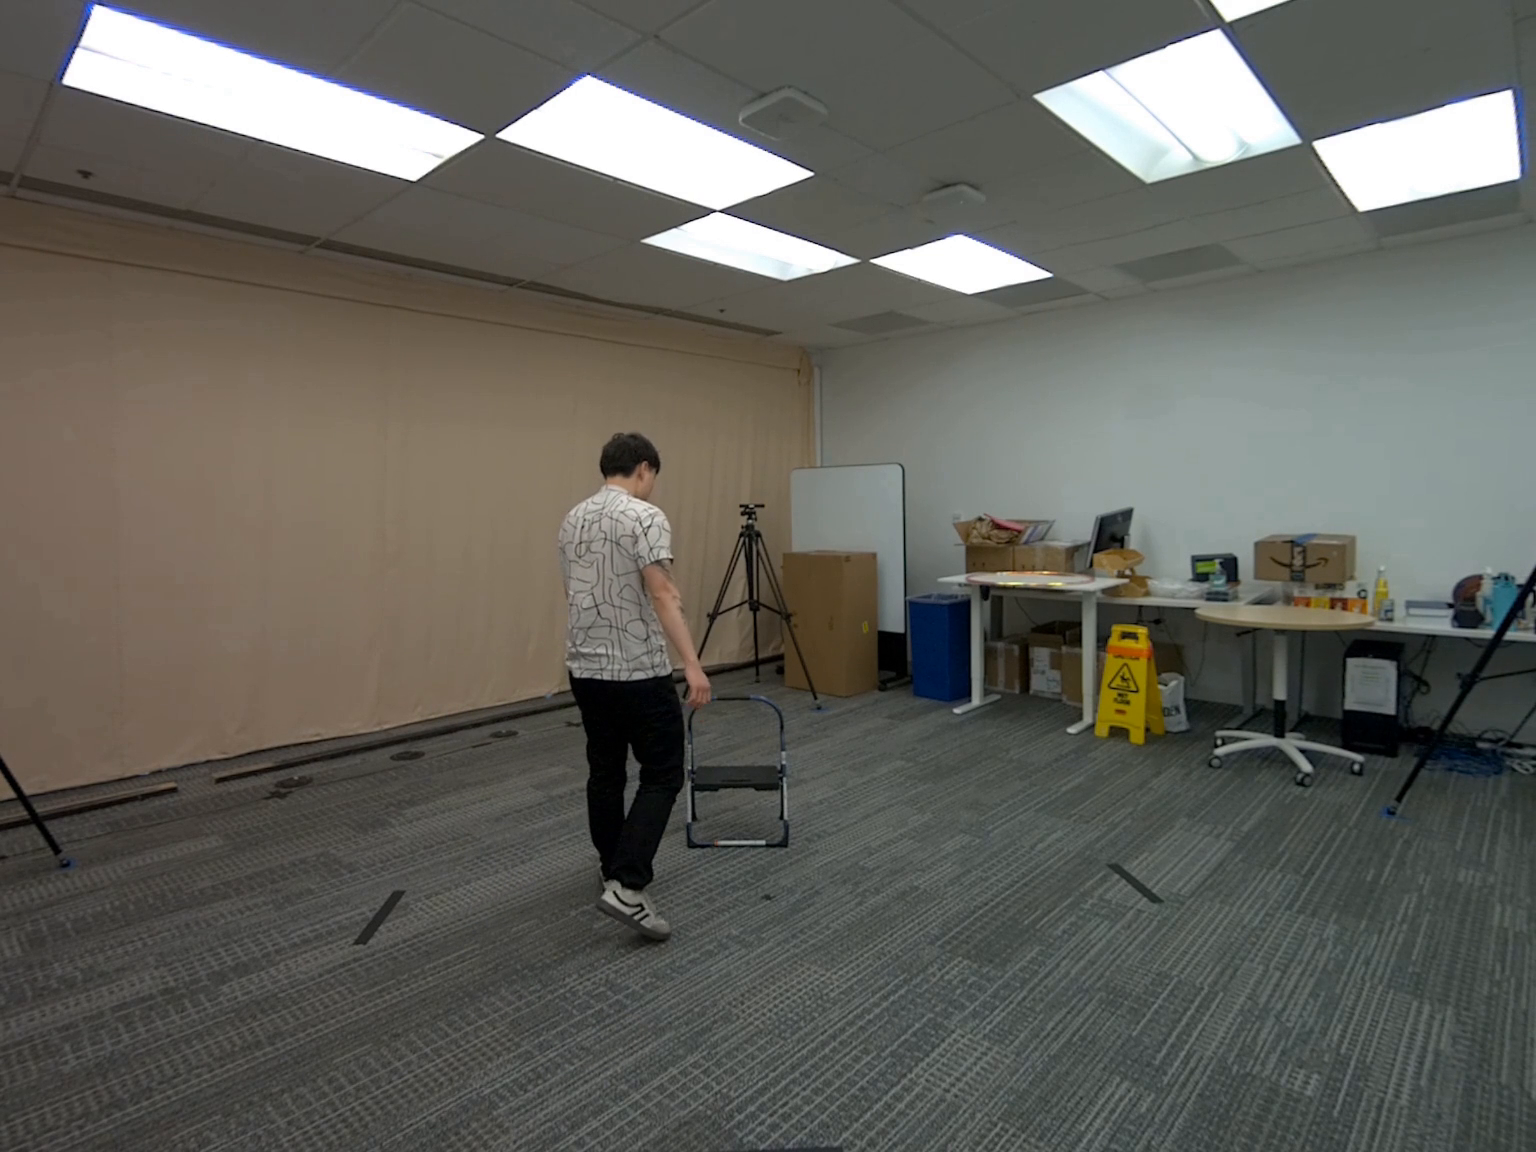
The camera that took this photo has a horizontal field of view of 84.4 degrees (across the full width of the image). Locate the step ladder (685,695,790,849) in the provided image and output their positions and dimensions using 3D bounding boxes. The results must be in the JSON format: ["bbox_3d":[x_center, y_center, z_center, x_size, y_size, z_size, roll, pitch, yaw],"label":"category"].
[{"bbox_3d":[-0.131,0.794,3.571,0.431,0.605,0.350,-1,3,0],"label":"step ladder"}]
